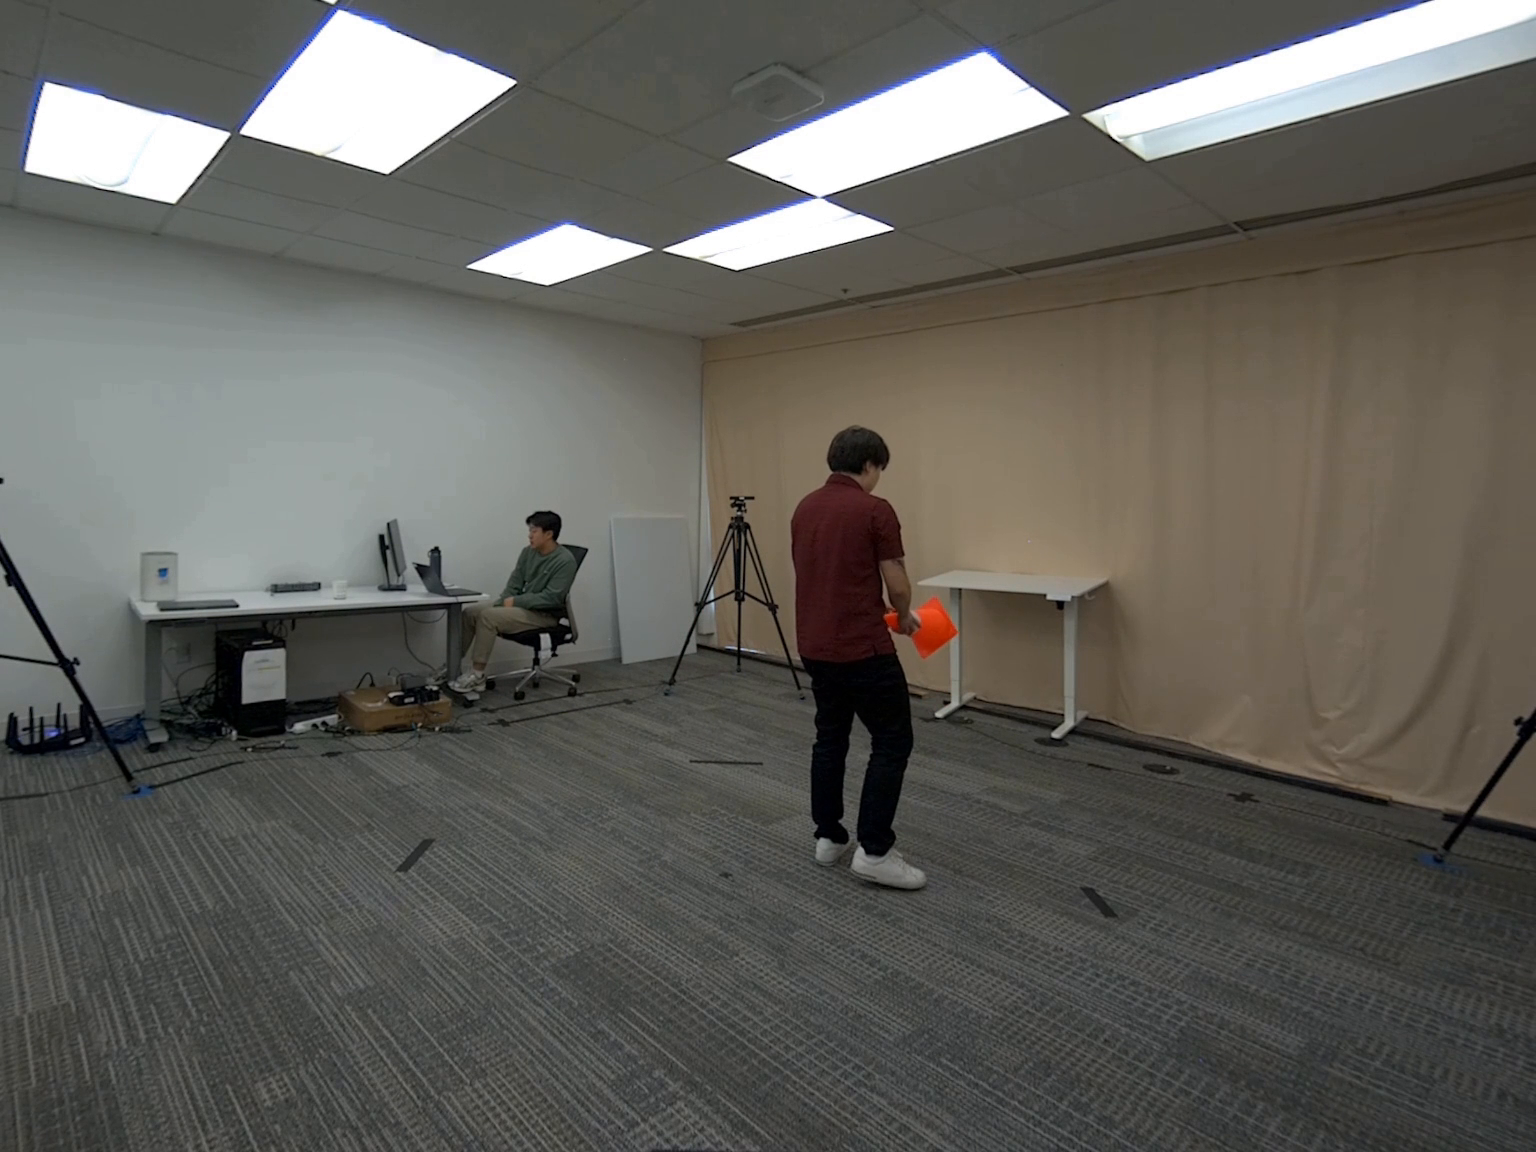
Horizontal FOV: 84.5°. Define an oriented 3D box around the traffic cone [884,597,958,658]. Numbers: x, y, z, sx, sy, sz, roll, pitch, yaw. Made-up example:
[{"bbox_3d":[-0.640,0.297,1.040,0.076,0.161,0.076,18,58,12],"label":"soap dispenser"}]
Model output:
[{"bbox_3d":[0.563,0.188,3.440,0.204,0.210,0.372,-42,-35,26],"label":"traffic cone"}]
